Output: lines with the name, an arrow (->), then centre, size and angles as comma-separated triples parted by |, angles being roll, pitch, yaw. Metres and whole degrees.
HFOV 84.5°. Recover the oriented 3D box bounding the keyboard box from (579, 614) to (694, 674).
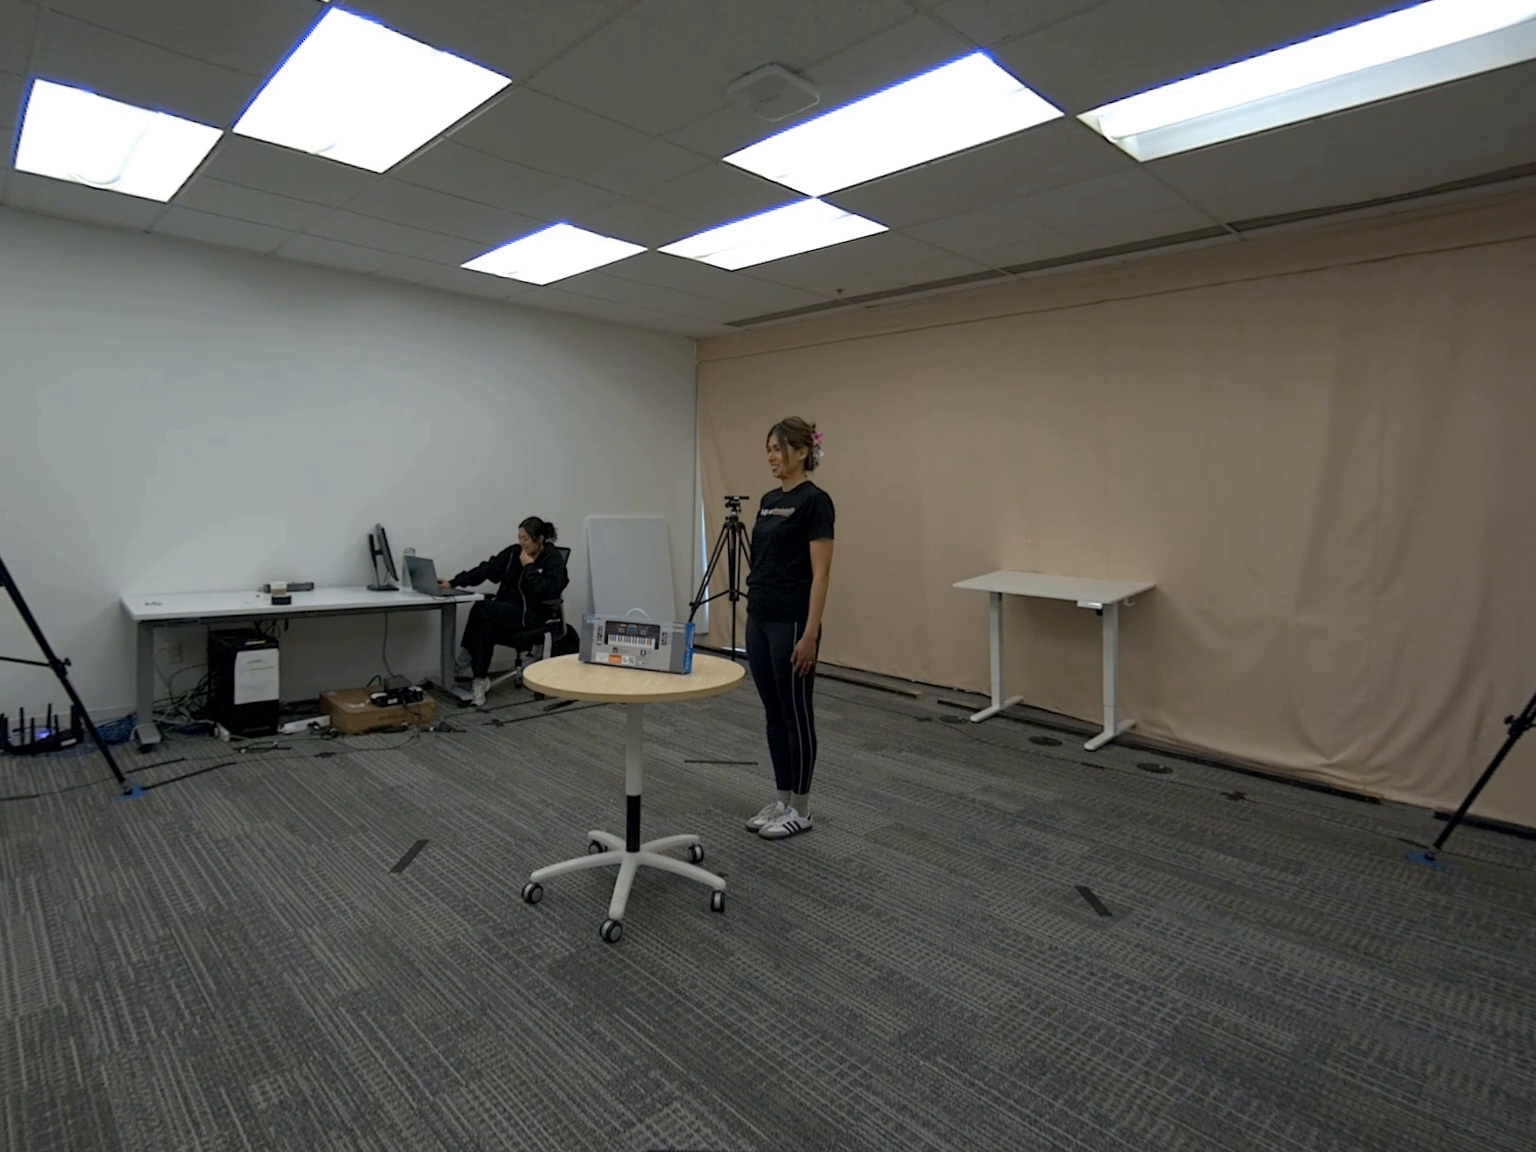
keyboard box -> -0.474, 0.236, 2.974 | 0.445, 0.176, 0.058 | 3, -3, 24
